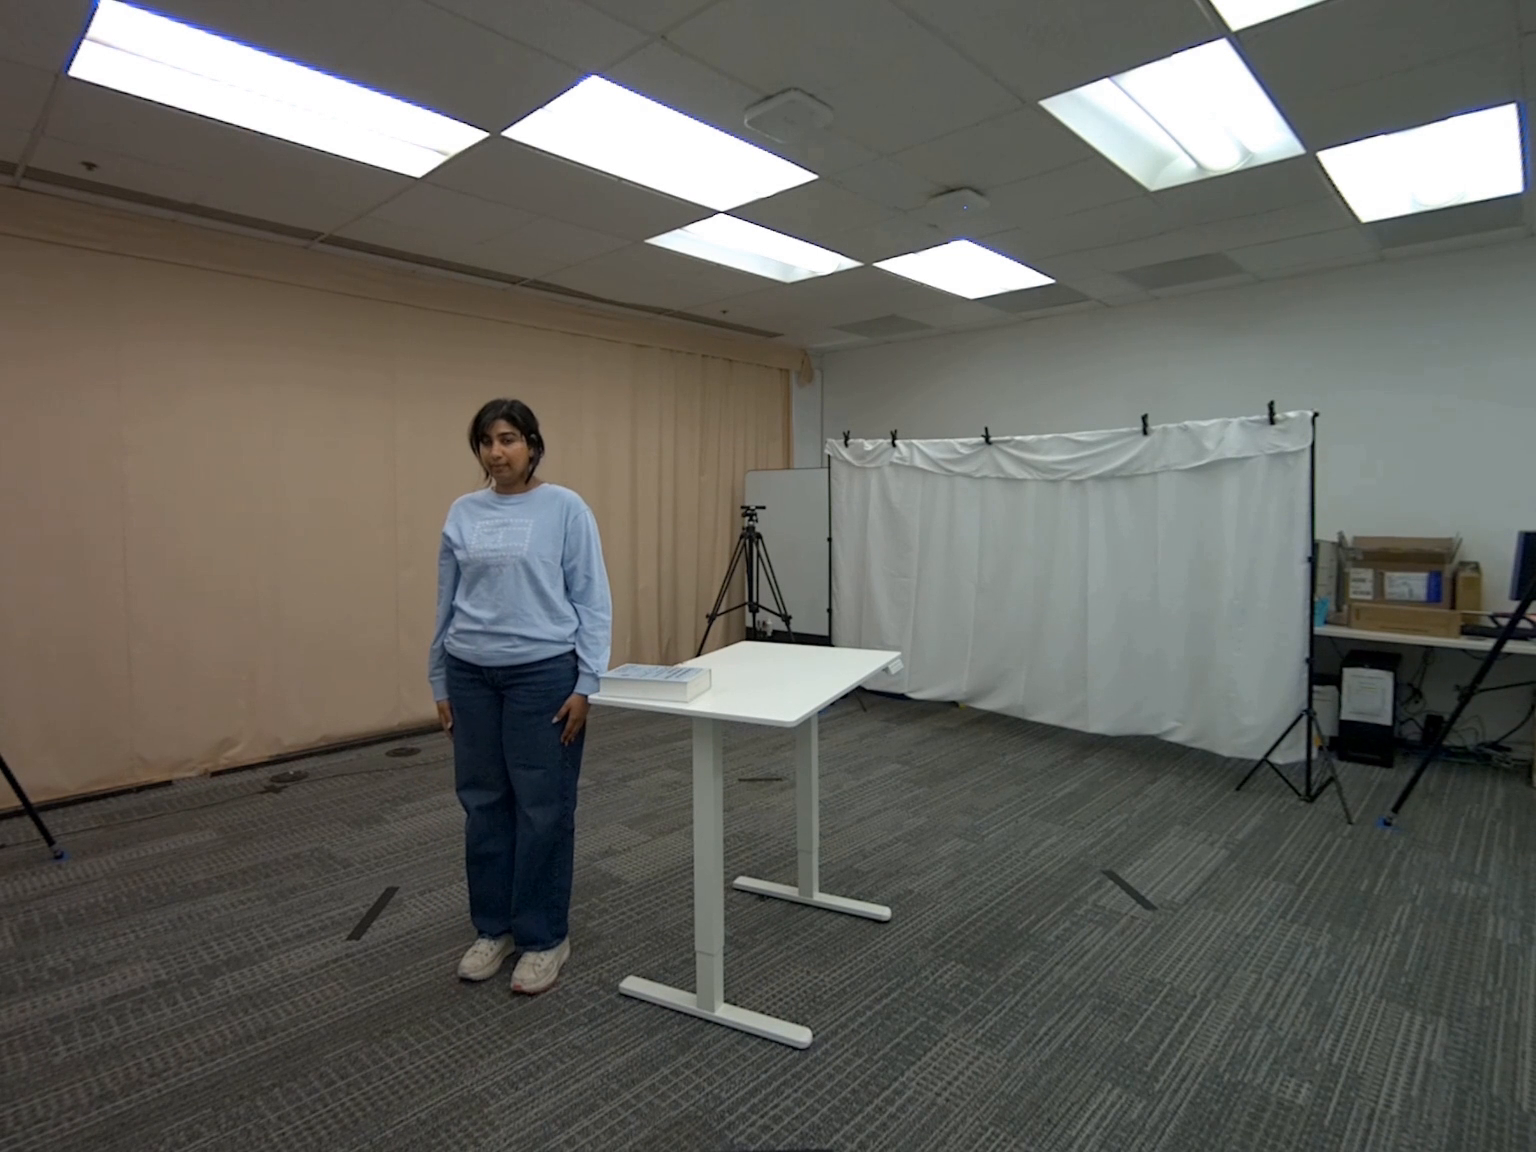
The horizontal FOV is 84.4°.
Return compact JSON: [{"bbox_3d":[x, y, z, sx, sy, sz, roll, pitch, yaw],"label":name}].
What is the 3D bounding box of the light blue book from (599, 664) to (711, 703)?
[{"bbox_3d":[-0.302,0.297,2.292,0.266,0.059,0.188,1,4,17],"label":"light blue book"}]
